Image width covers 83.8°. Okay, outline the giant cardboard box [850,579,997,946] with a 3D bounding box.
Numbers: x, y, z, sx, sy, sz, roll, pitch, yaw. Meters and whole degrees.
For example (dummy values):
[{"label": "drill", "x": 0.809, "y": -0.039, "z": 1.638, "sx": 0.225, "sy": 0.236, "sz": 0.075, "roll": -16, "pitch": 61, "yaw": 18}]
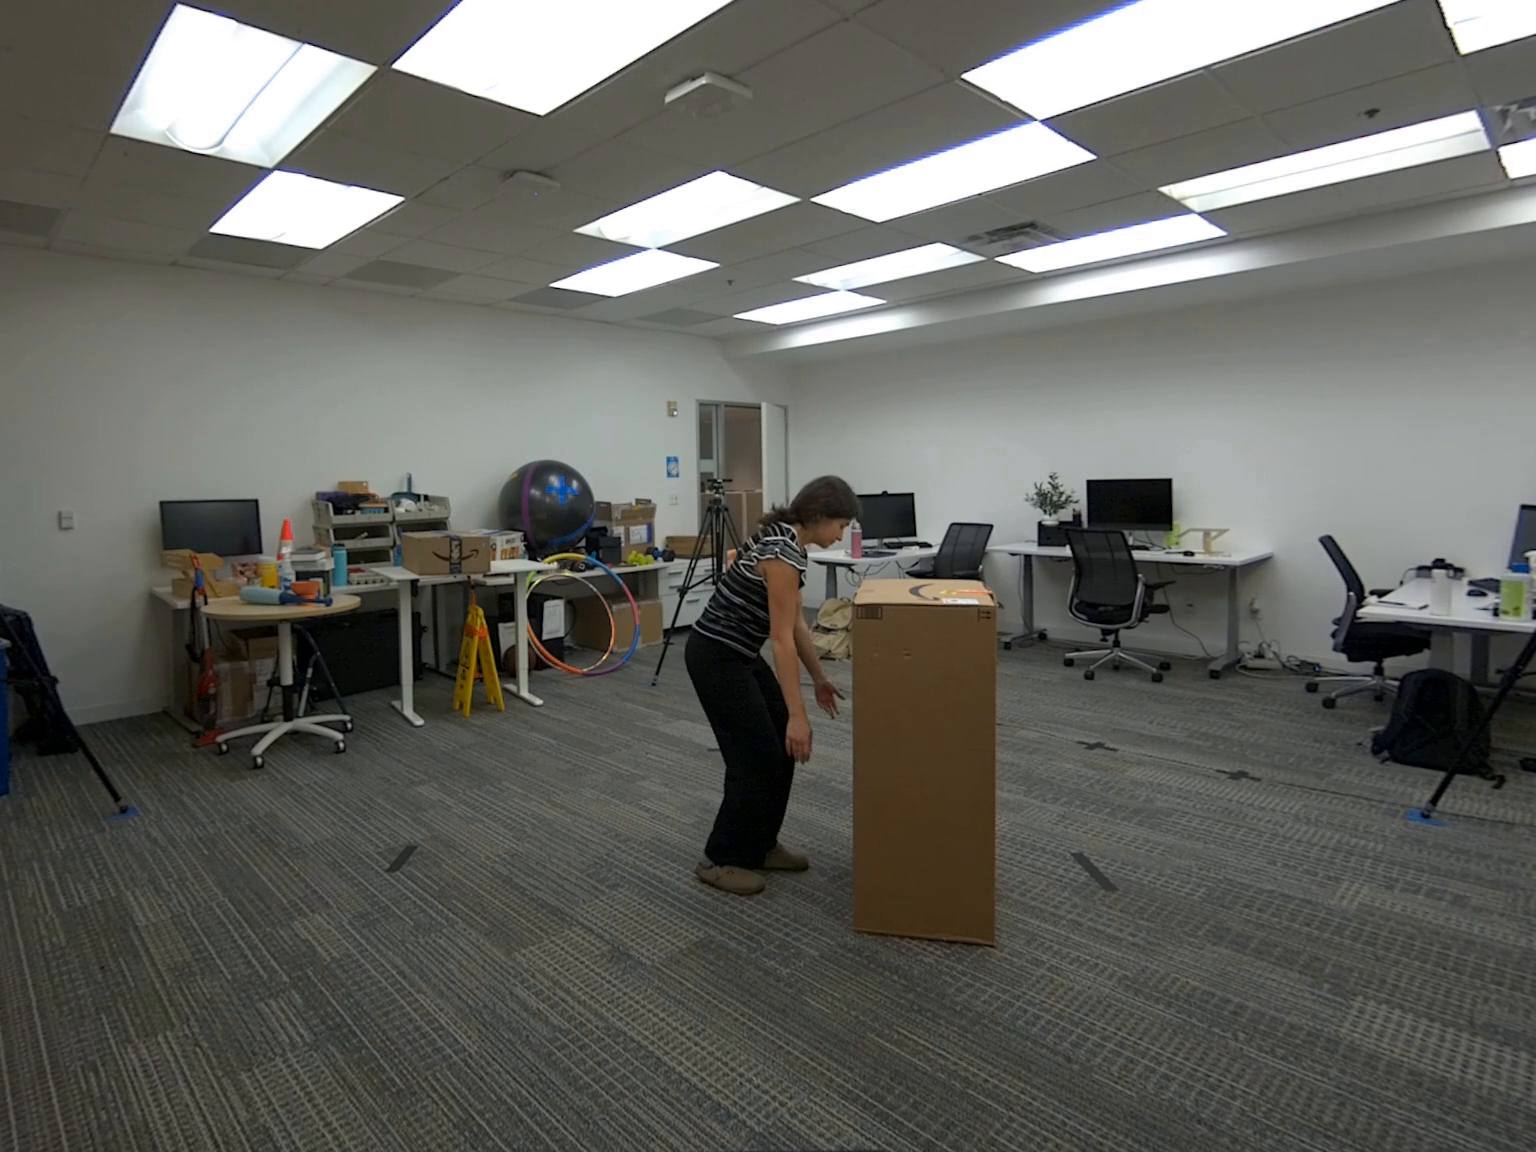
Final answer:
[{"label": "giant cardboard box", "x": 0.518, "y": 0.561, "z": 2.817, "sx": 0.431, "sy": 1.022, "sz": 0.573, "roll": 1, "pitch": 4, "yaw": 10}]
